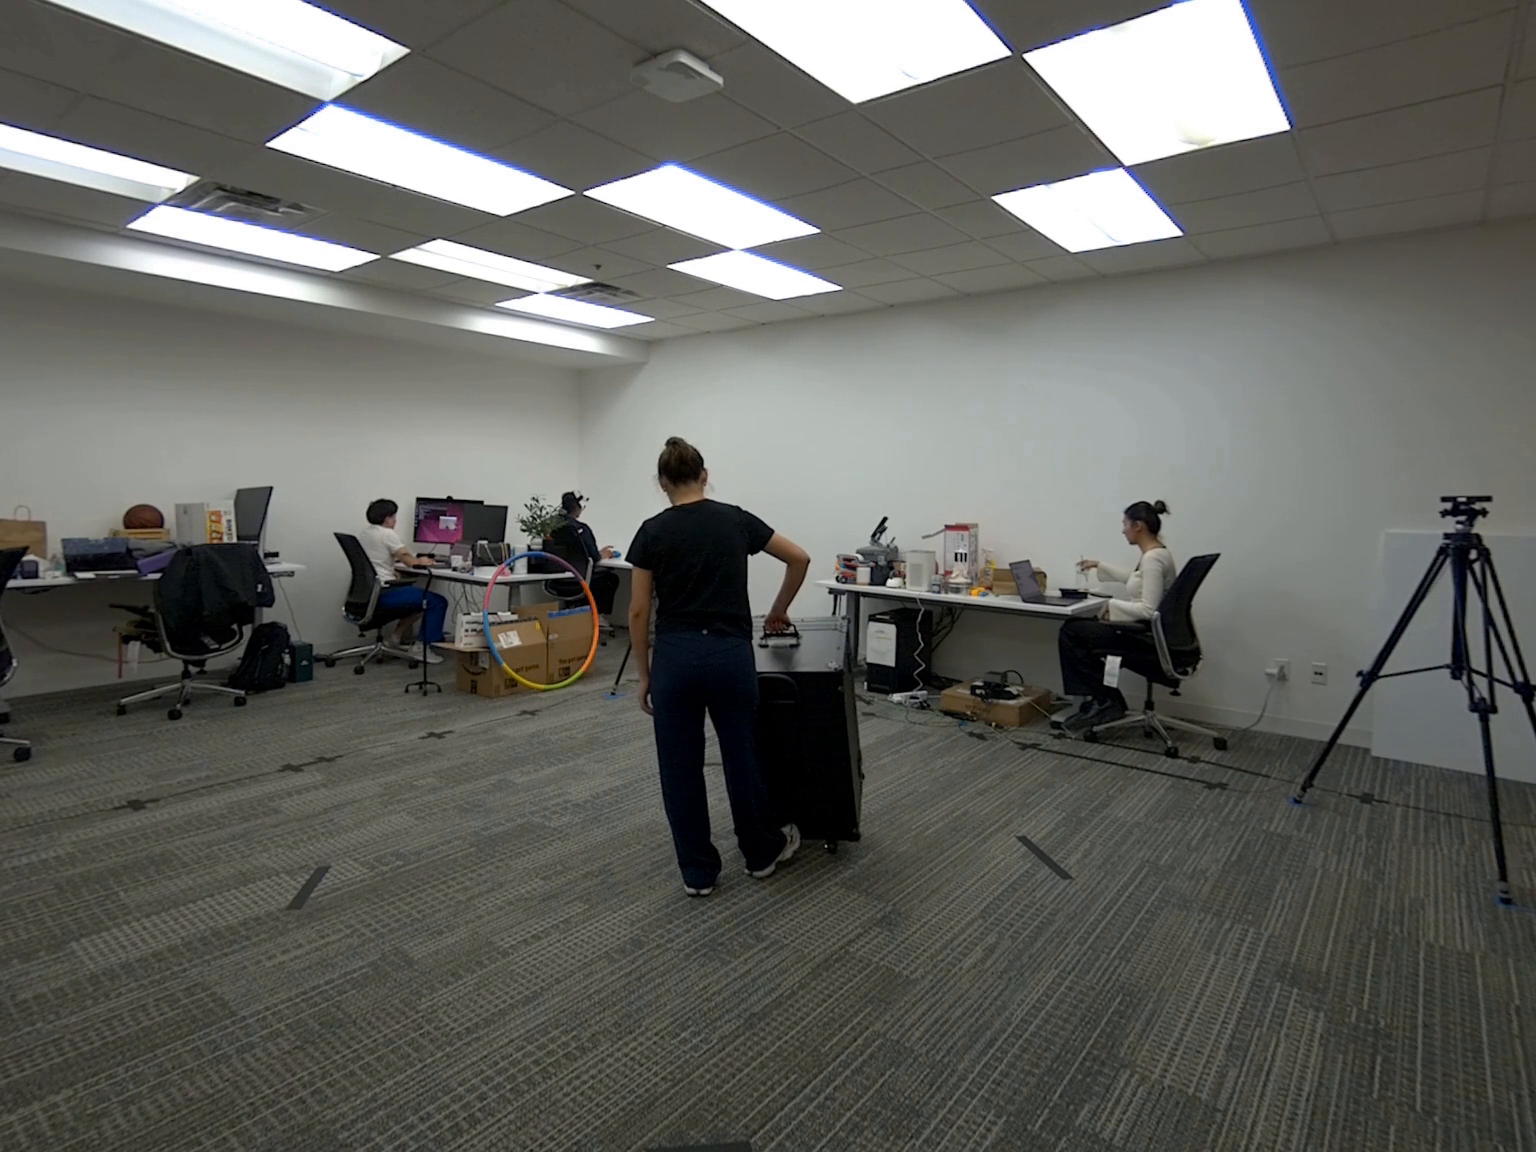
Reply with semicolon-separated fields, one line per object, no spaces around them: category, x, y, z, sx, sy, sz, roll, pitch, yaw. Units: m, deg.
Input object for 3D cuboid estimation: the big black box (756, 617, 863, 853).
big black box;0.115;0.615;3.268;0.529;0.839;0.401;-2;27;13
